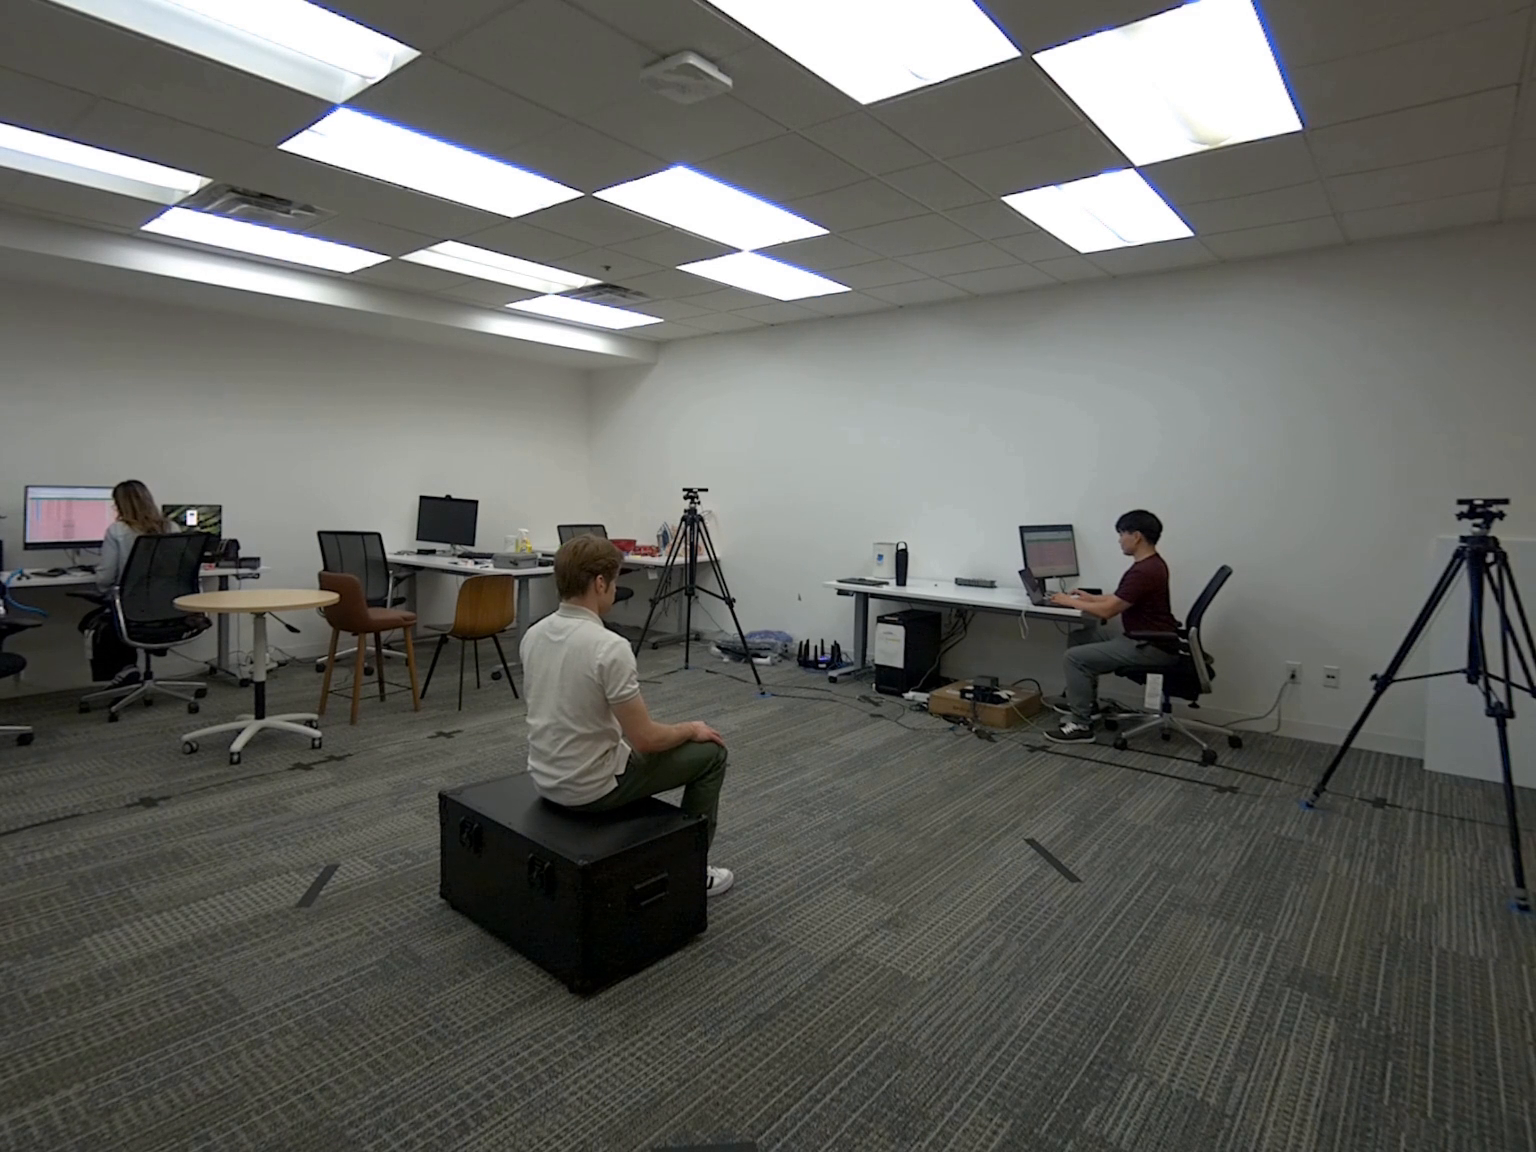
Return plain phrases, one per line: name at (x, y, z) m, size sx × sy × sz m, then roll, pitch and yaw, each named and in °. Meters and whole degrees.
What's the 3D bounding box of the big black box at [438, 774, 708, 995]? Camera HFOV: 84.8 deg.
big black box at (-0.670, 0.907, 2.741) m, size 0.898 × 0.383 × 0.508 m, roll 6°, pitch 7°, yaw 42°
